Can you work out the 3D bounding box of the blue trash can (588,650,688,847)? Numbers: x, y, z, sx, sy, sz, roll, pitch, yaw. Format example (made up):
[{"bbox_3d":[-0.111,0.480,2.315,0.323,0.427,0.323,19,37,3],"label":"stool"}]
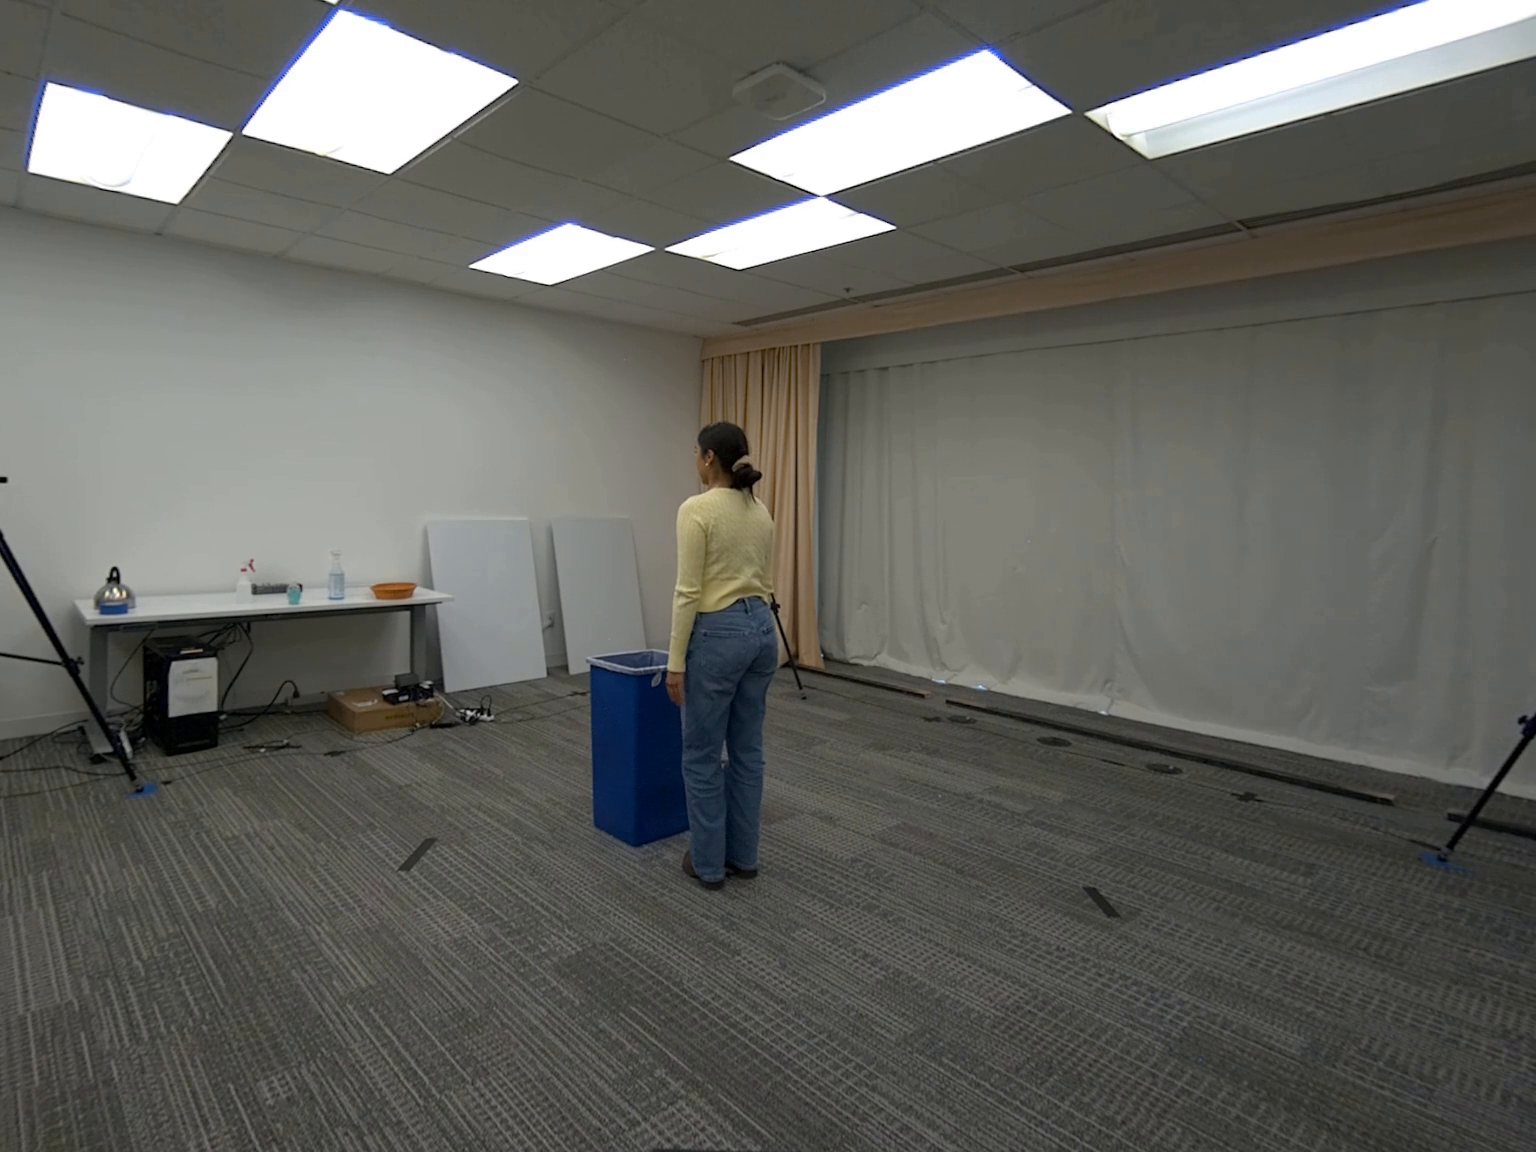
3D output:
[{"bbox_3d":[-0.532,0.698,3.519,0.369,0.712,0.383,-1,4,-44],"label":"blue trash can"}]
